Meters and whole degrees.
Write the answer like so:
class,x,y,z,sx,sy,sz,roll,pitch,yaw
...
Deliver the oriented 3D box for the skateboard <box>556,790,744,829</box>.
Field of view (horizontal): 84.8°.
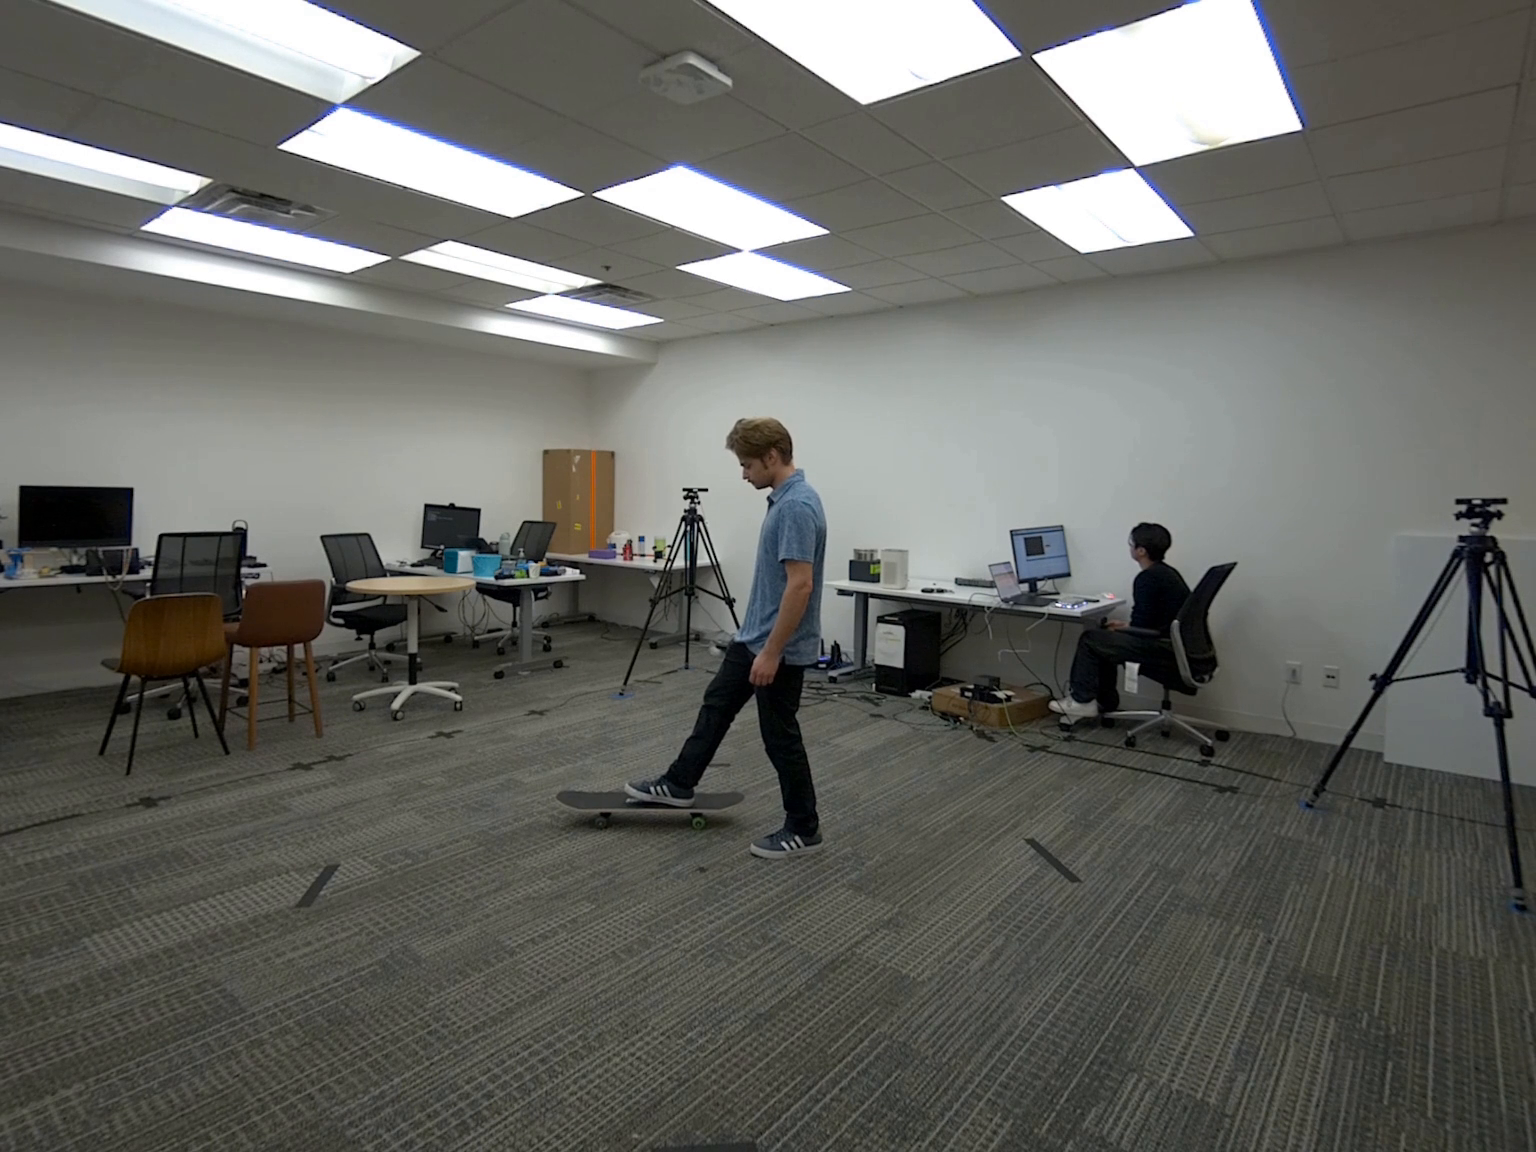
class,x,y,z,sx,sy,sz,roll,pitch,yaw
skateboard,-0.489,0.962,3.543,0.783,0.110,0.195,1,6,-2
